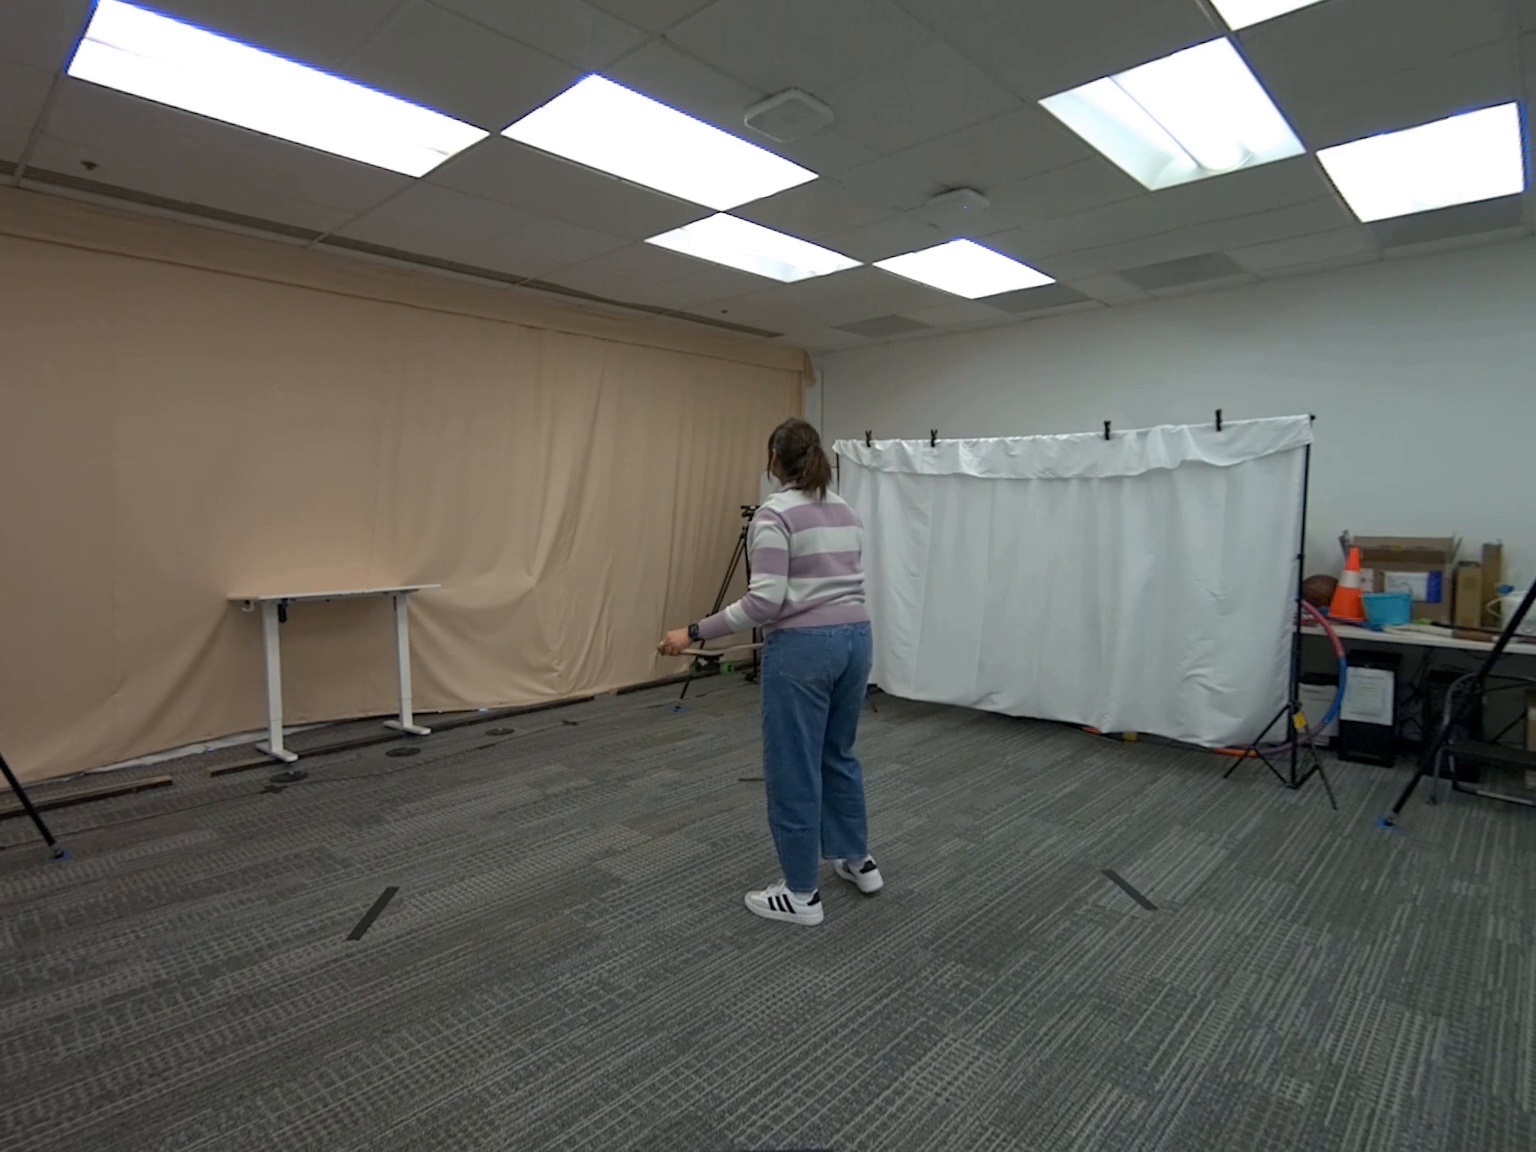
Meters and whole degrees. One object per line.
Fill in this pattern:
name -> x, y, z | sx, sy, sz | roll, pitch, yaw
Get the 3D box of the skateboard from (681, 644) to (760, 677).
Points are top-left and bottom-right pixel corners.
skateboard -> -0.066, 0.284, 3.065 | 0.199, 0.111, 0.761 | -10, -5, 43
